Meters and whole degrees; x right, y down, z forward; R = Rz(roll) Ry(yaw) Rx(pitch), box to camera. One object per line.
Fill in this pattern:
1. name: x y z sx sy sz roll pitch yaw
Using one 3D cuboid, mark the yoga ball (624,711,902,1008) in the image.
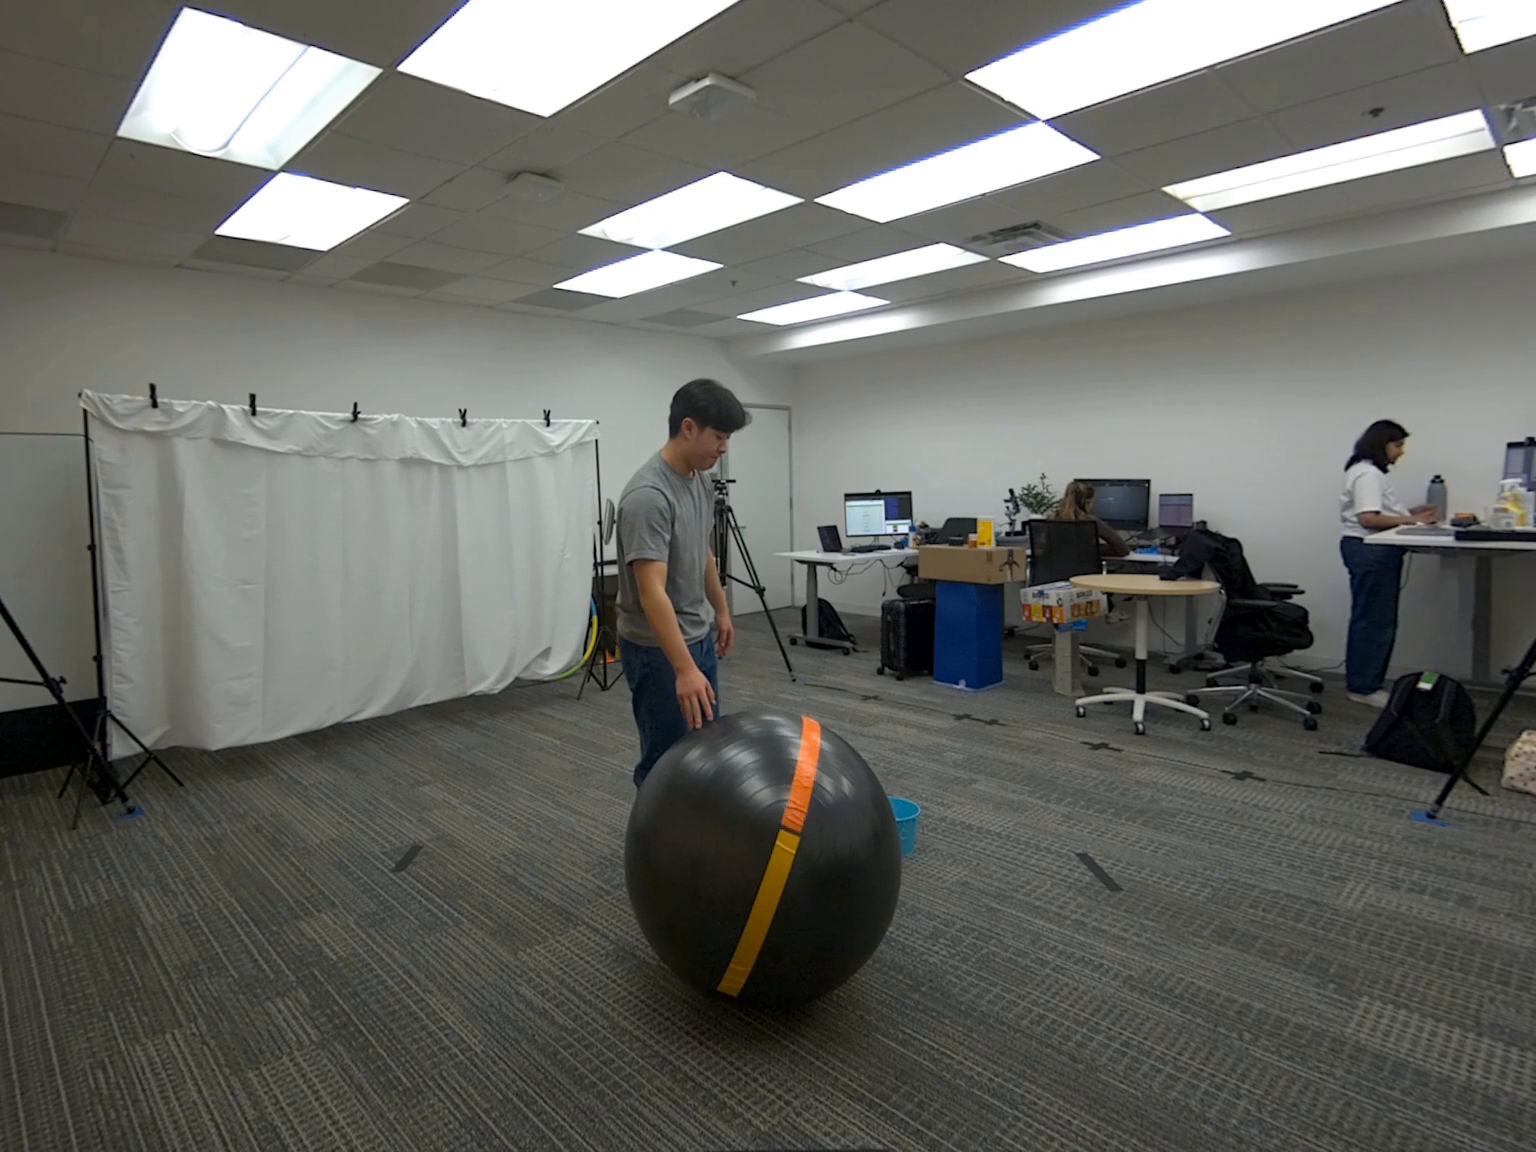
1. yoga ball: -0.010 0.765 2.332 0.757 0.755 0.762 -1 5 -2
